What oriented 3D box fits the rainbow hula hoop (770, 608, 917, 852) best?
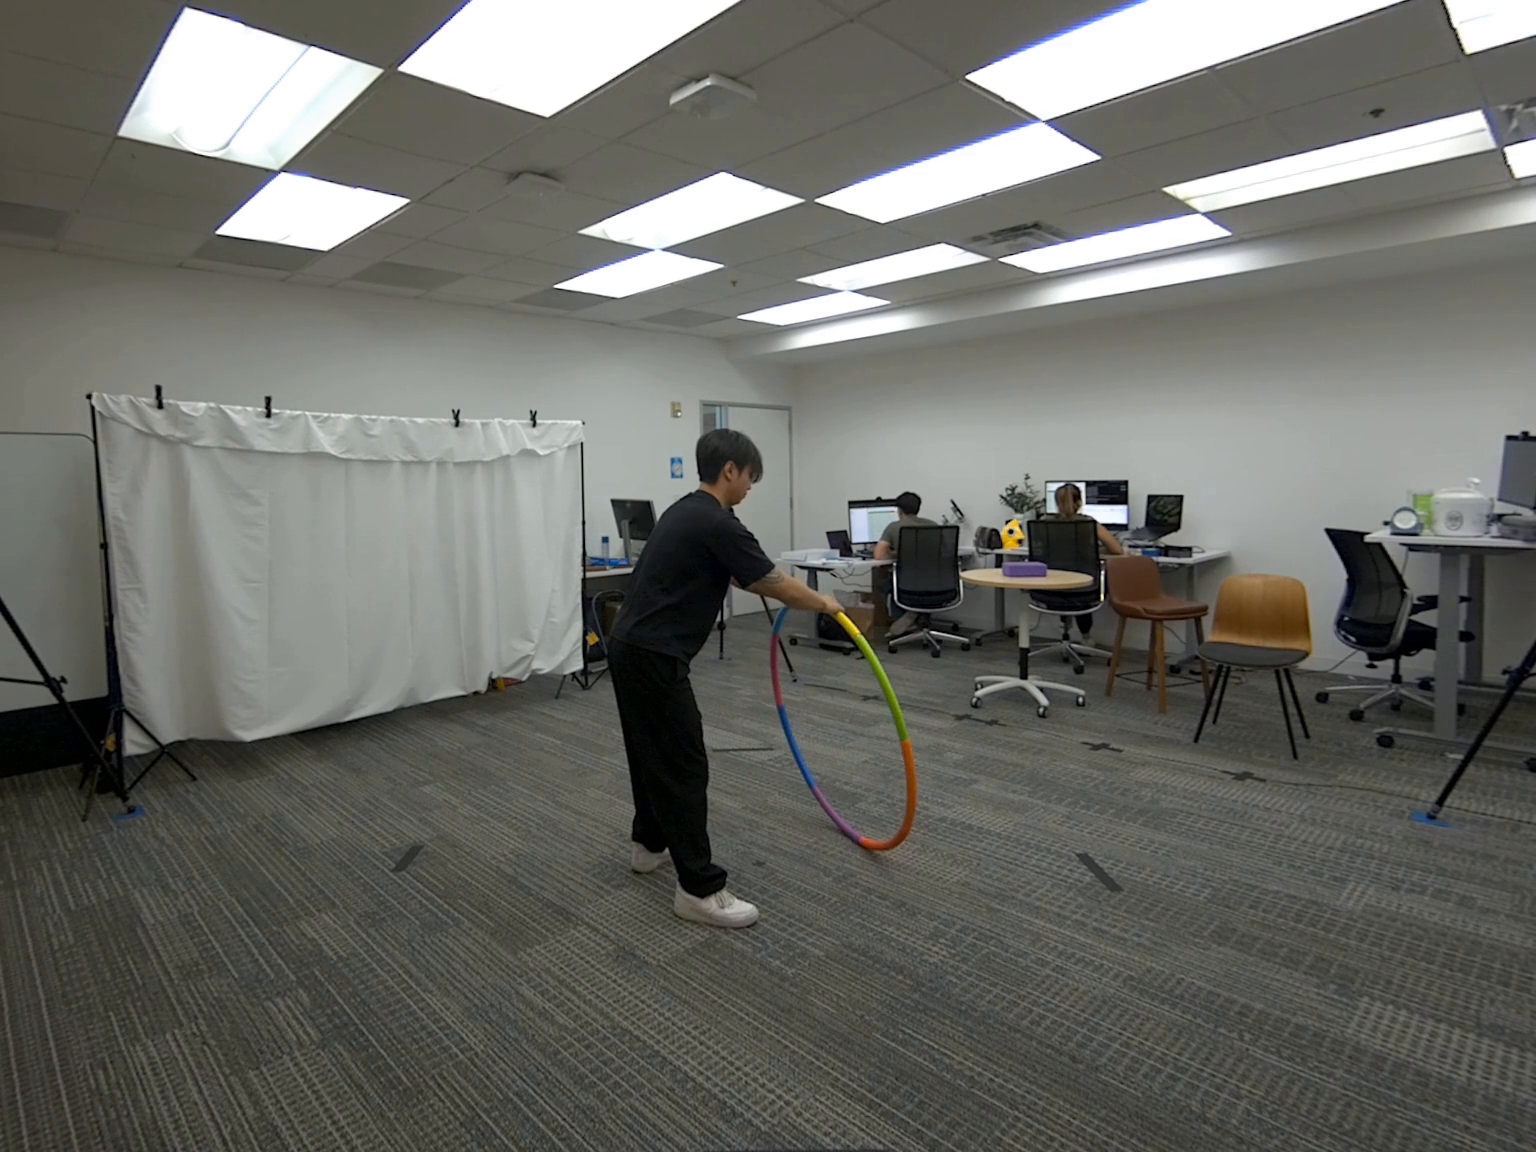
[{"bbox_3d":[0.257,0.549,3.246,0.035,0.970,1.002,-13,9,-24],"label":"rainbow hula hoop"}]
